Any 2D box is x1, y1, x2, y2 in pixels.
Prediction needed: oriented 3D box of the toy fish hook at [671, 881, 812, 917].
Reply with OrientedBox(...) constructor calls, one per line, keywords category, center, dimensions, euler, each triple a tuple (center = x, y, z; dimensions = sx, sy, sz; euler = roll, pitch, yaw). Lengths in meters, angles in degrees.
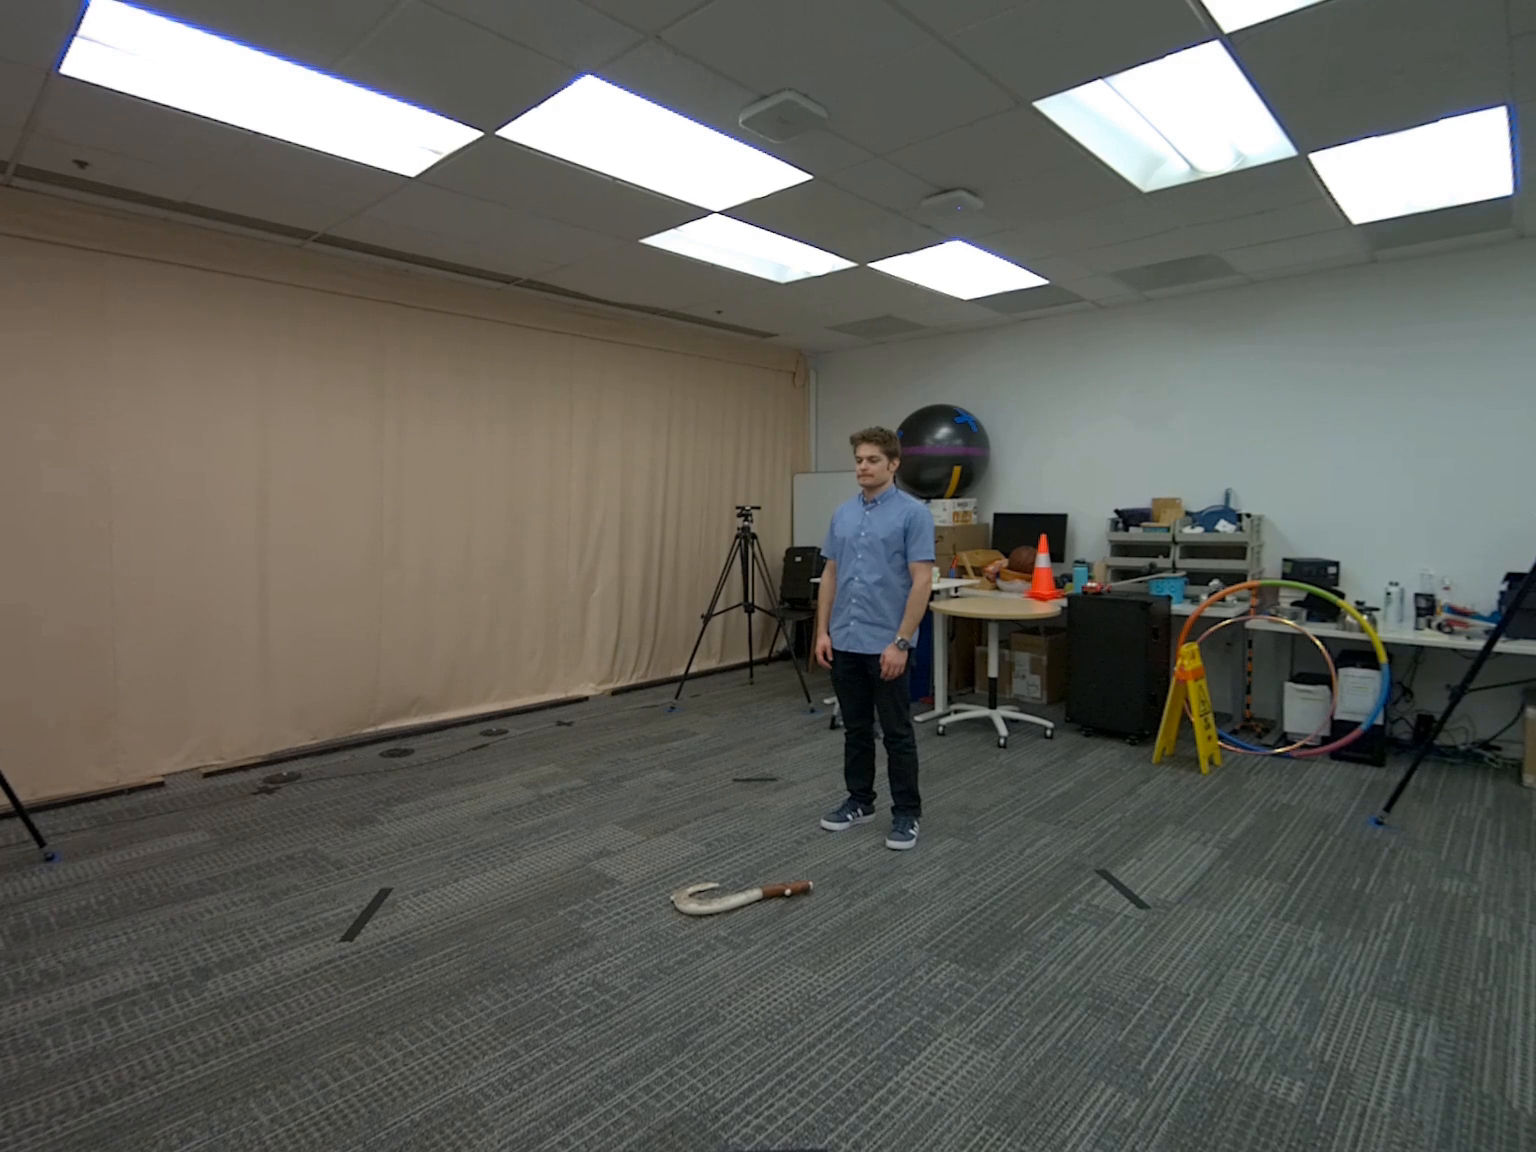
OrientedBox(category="toy fish hook", center=(-0.090, 1.121, 2.997), dimensions=(0.497, 0.048, 0.230), euler=(-1, 5, -20))
